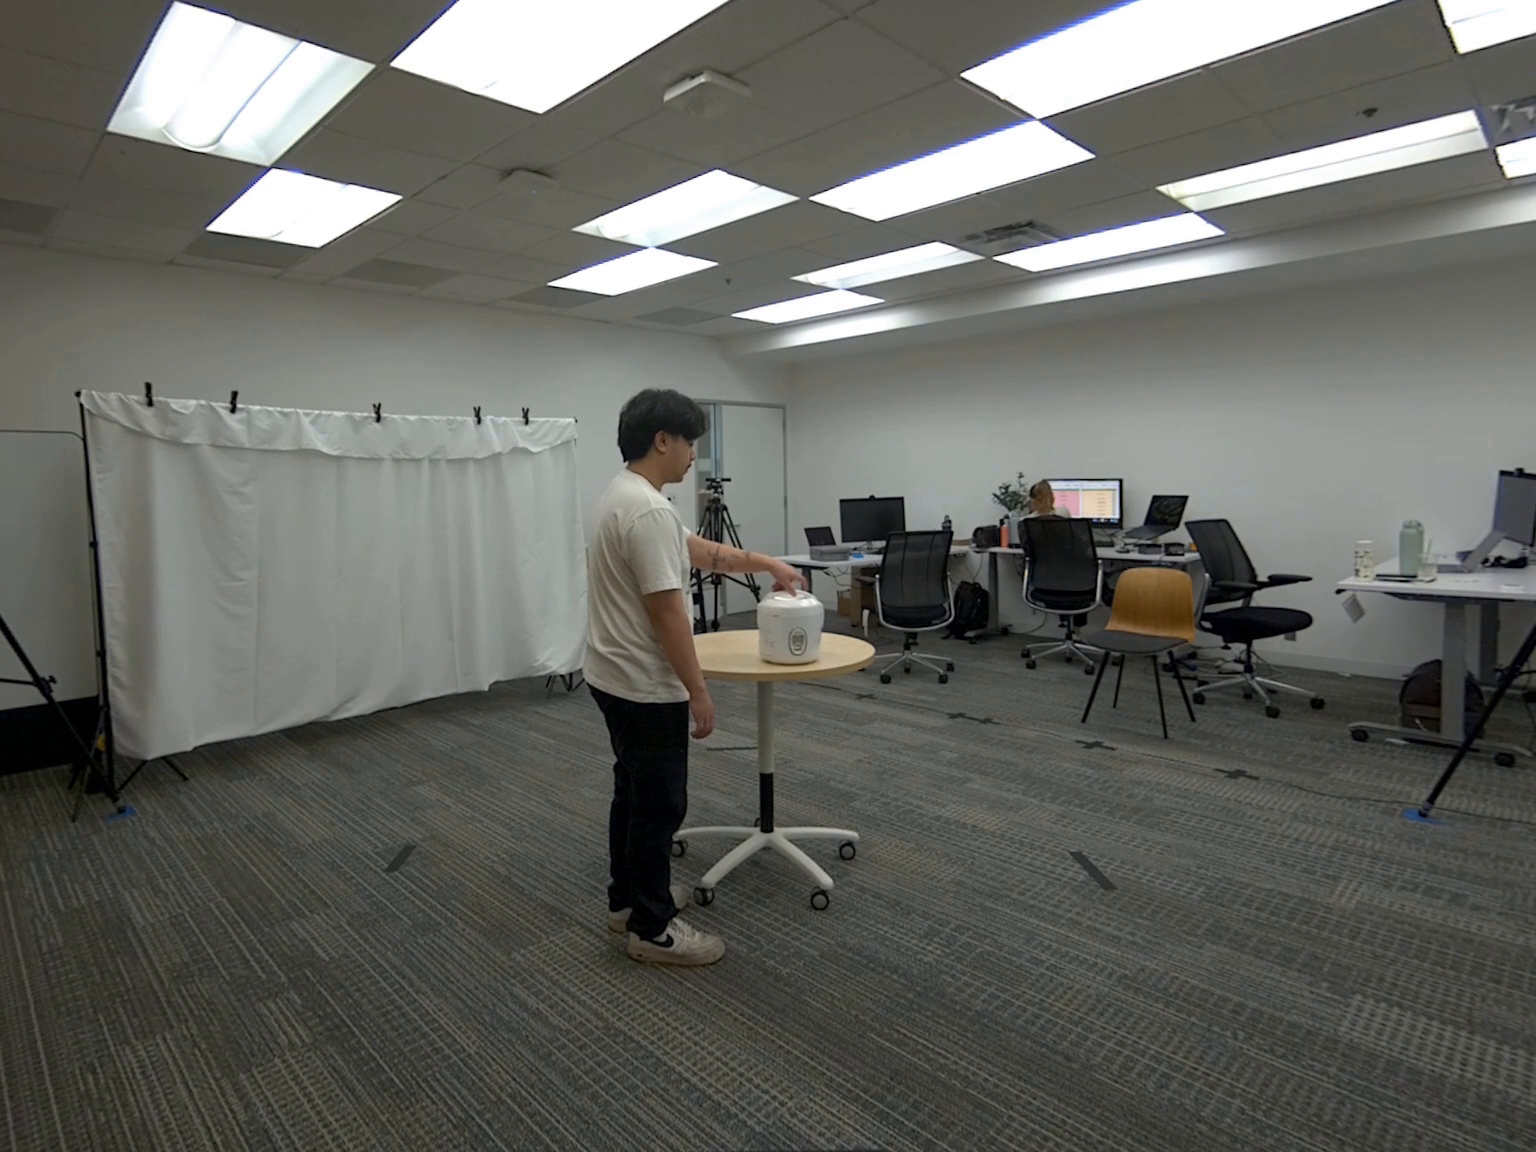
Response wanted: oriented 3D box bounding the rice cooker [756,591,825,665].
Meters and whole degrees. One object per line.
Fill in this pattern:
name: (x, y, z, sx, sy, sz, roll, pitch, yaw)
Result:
rice cooker: (0.077, 0.160, 2.803, 0.218, 0.232, 0.220, -2, 4, -10)
